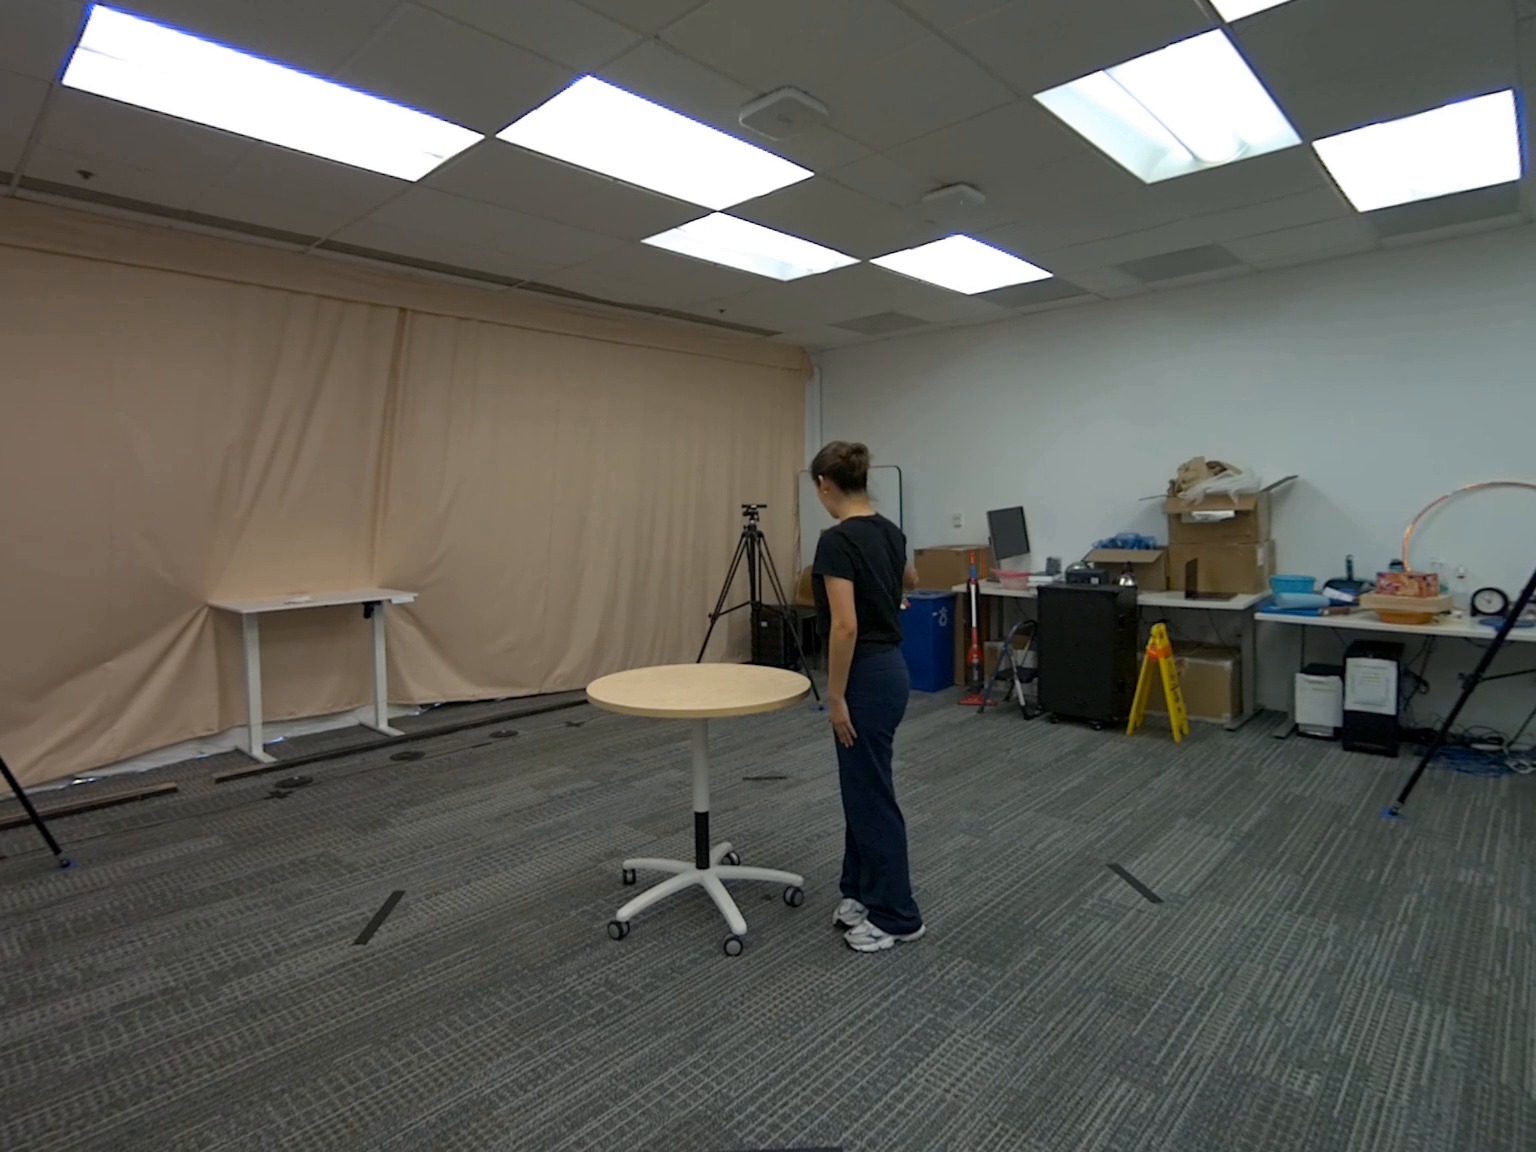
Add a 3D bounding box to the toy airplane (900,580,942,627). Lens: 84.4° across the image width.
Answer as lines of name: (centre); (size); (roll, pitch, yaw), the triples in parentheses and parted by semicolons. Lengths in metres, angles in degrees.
toy airplane: (0.479, 0.074, 3.319); (0.243, 0.156, 0.267); (12, 3, -32)
